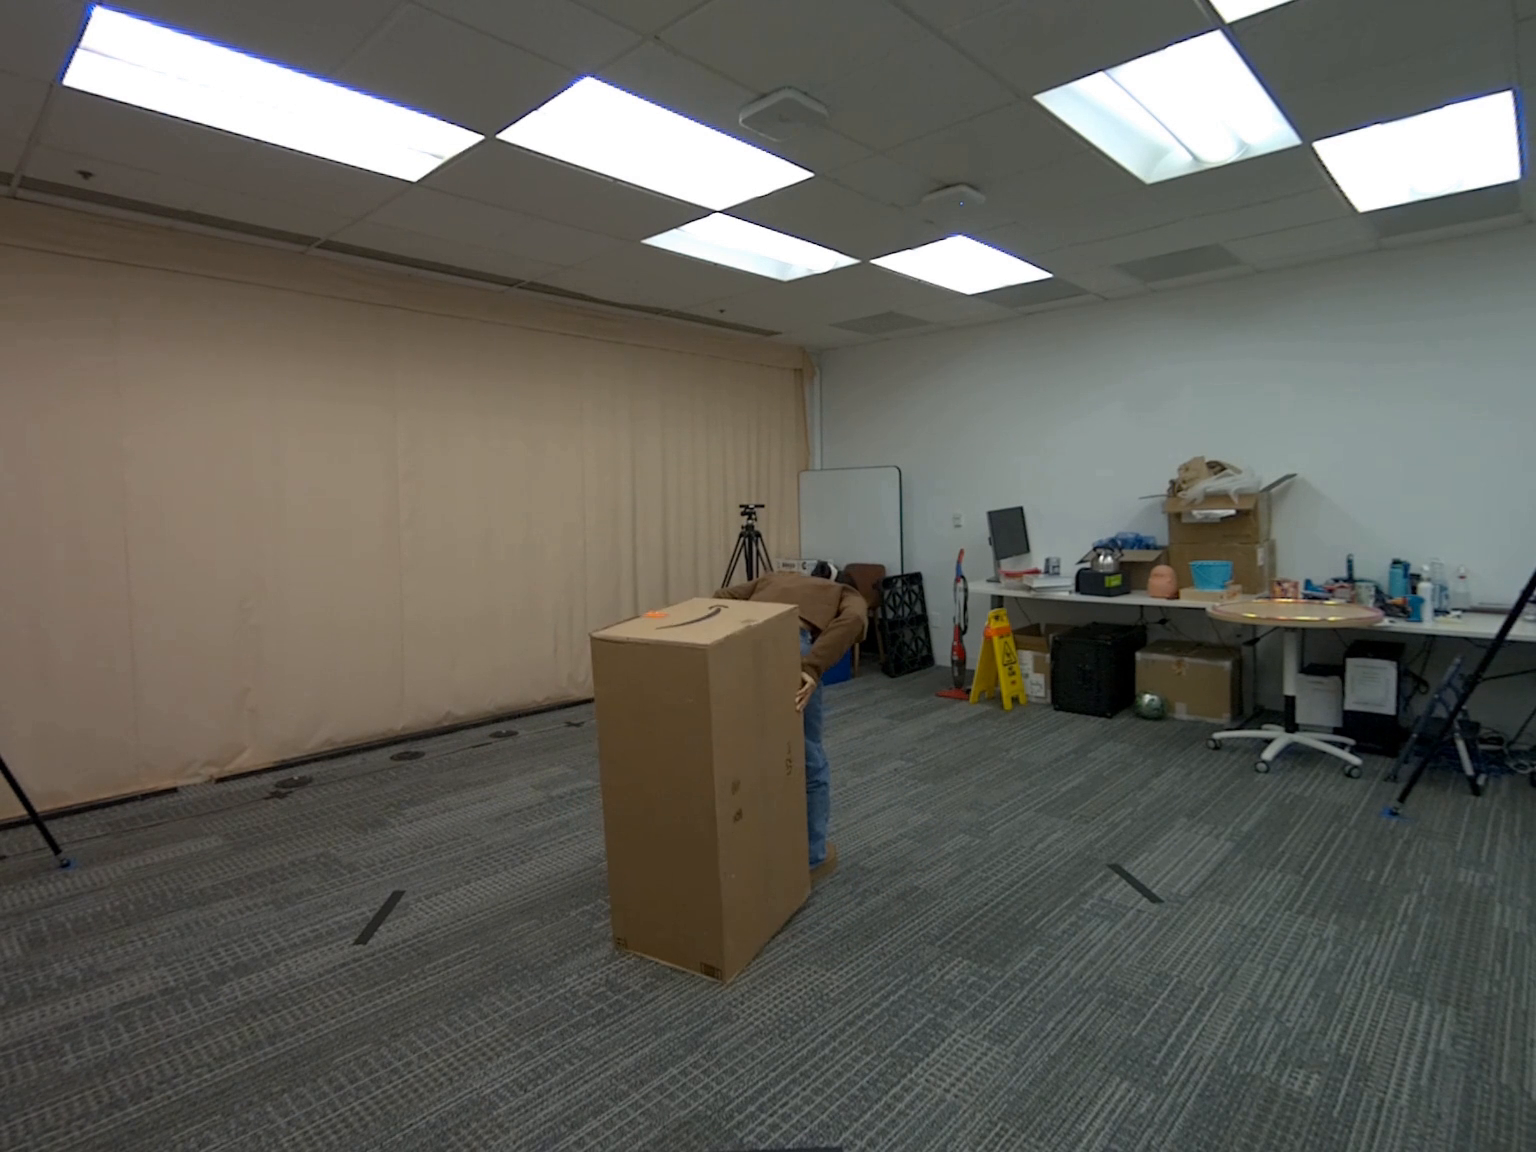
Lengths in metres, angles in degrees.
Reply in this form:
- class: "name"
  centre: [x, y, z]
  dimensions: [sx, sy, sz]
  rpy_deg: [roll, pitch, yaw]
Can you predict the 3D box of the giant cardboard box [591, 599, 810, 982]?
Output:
- class: "giant cardboard box"
  centre: [-0.200, 0.623, 2.716]
  dimensions: [0.460, 1.022, 0.570]
  rpy_deg: [2, 9, 30]
